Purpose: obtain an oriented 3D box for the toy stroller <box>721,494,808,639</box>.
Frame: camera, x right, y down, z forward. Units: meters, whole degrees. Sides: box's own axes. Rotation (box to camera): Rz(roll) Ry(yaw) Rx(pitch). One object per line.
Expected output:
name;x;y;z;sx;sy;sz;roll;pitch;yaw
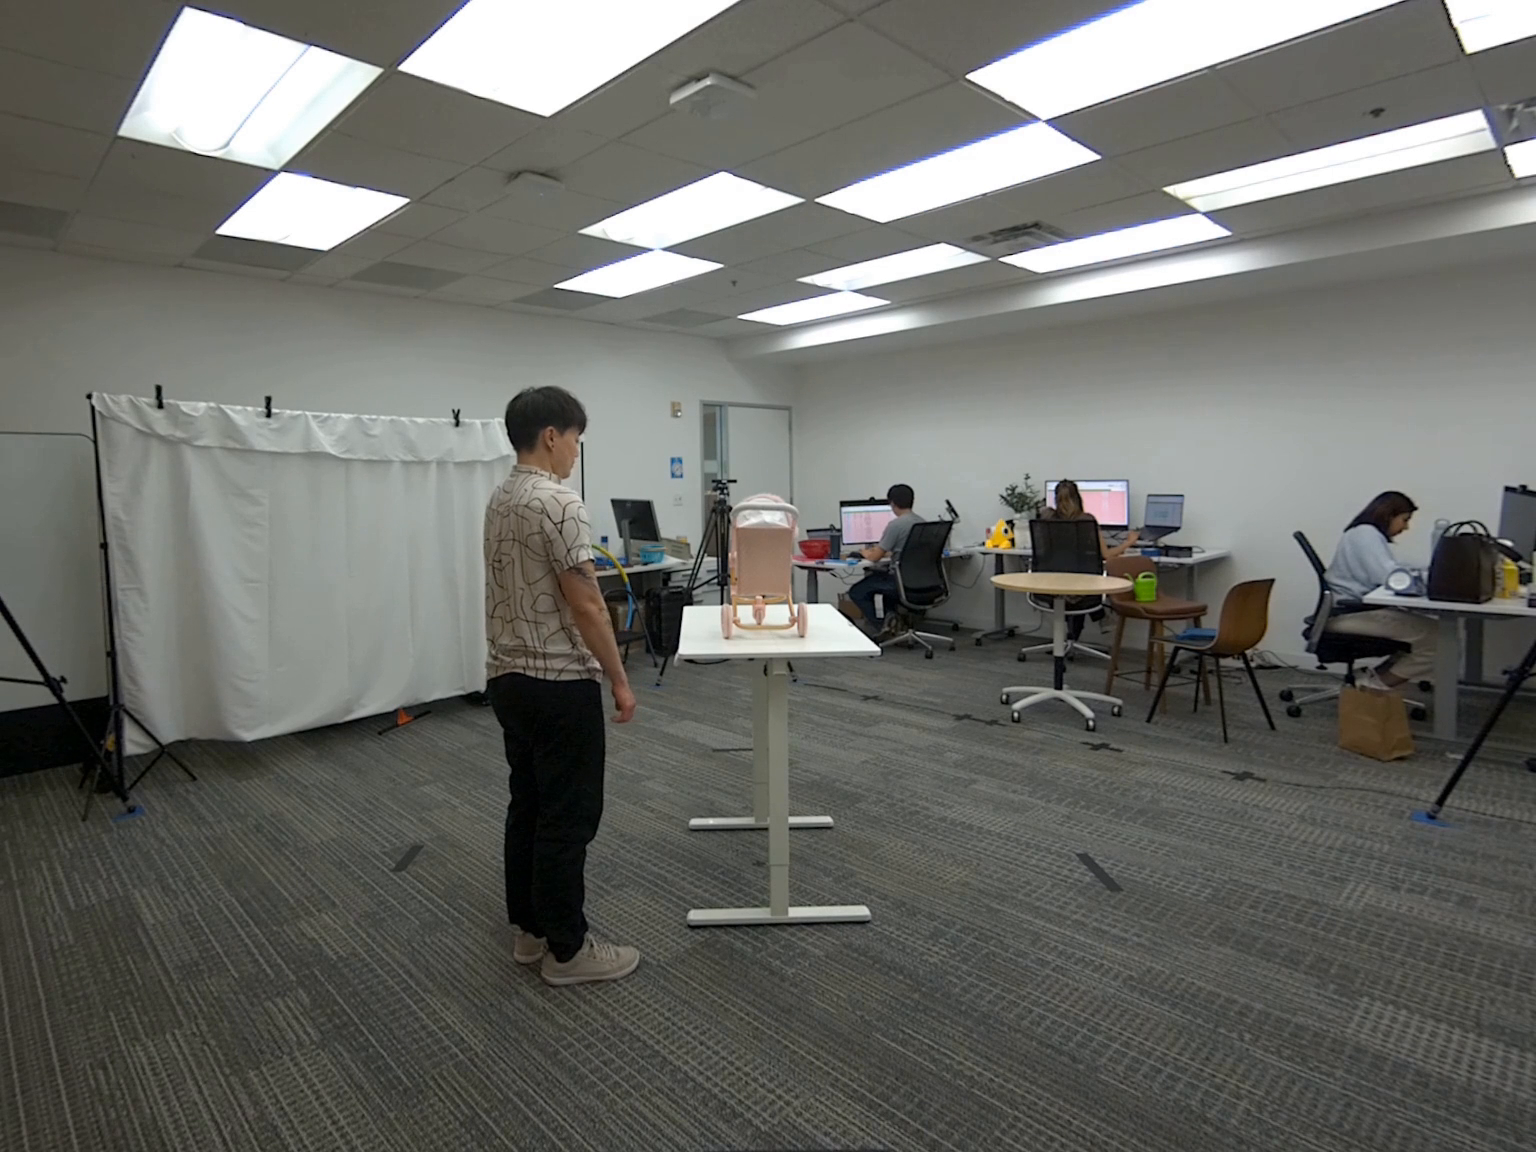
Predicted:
toy stroller;-0.016;-0.031;2.837;0.282;0.526;0.346;0;19;1
